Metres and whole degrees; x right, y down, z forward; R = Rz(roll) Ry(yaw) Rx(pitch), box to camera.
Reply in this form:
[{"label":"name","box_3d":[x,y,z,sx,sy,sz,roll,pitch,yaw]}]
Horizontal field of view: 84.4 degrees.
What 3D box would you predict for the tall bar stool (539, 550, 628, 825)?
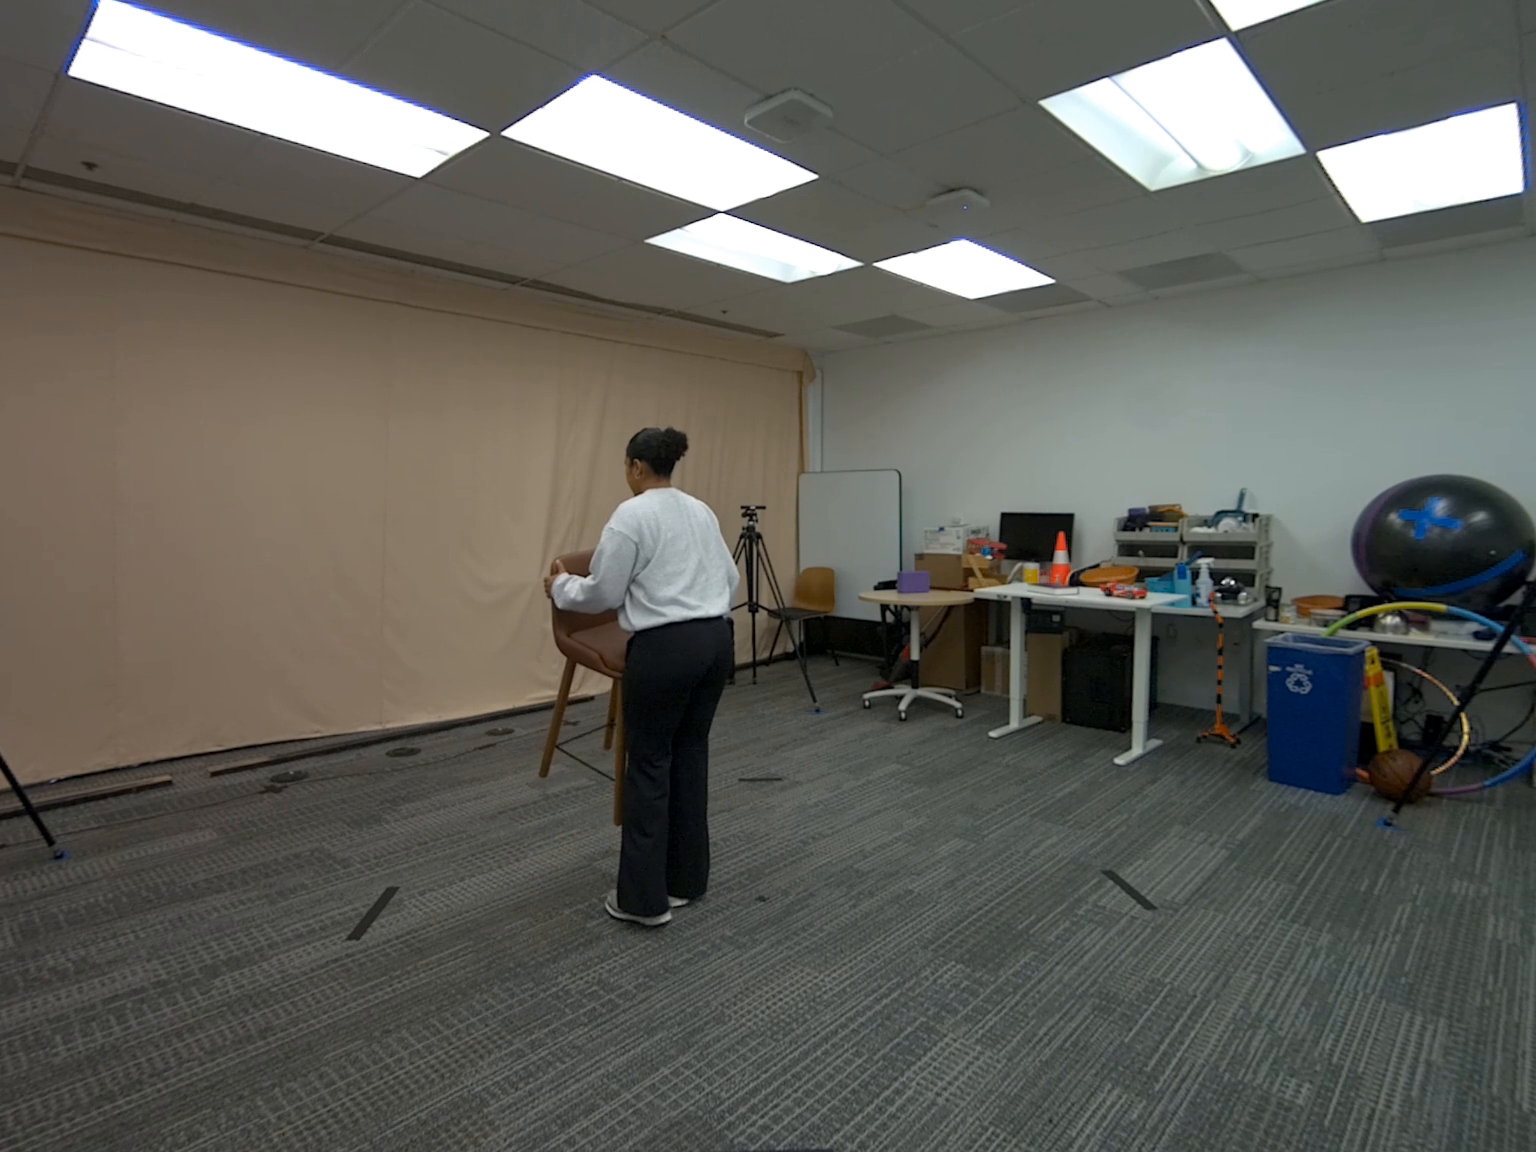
[{"label":"tall bar stool","box_3d":[-0.555,0.388,3.166,0.483,0.884,0.444,14,15,34]}]
